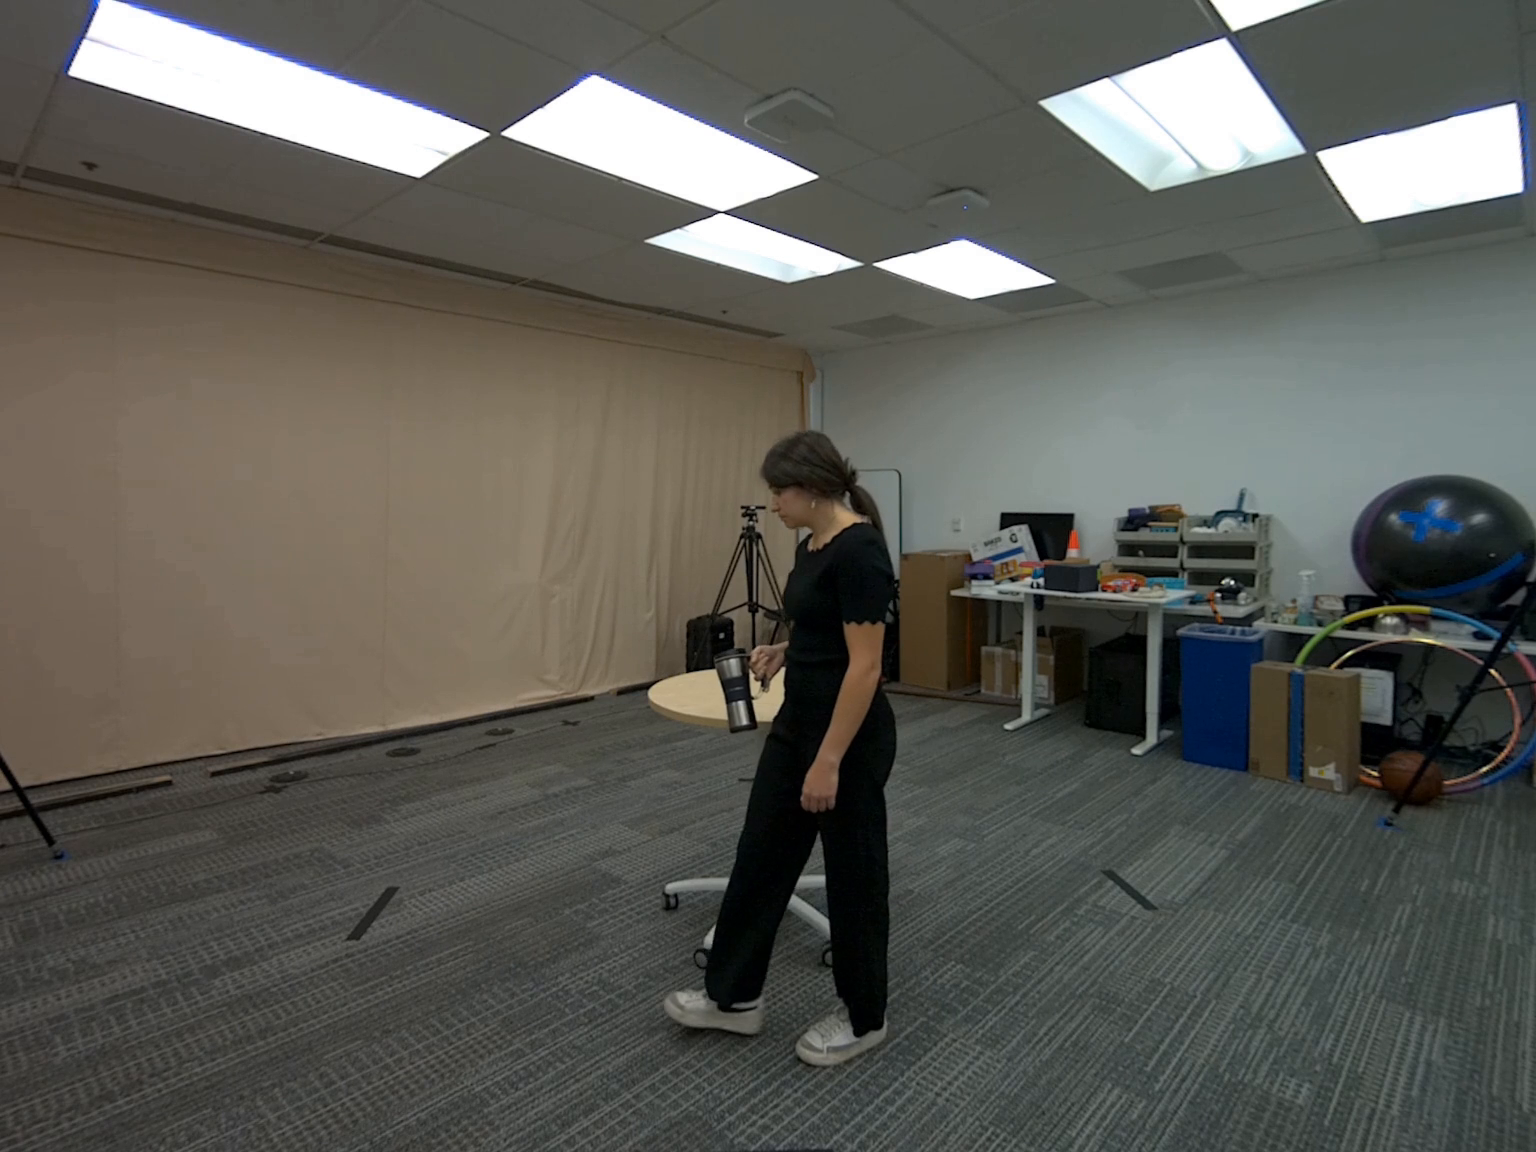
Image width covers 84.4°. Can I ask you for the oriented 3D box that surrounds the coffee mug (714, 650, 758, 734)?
[{"bbox_3d":[-0.063,0.295,2.135,0.124,0.206,0.085,-25,-22,39],"label":"coffee mug"}]
